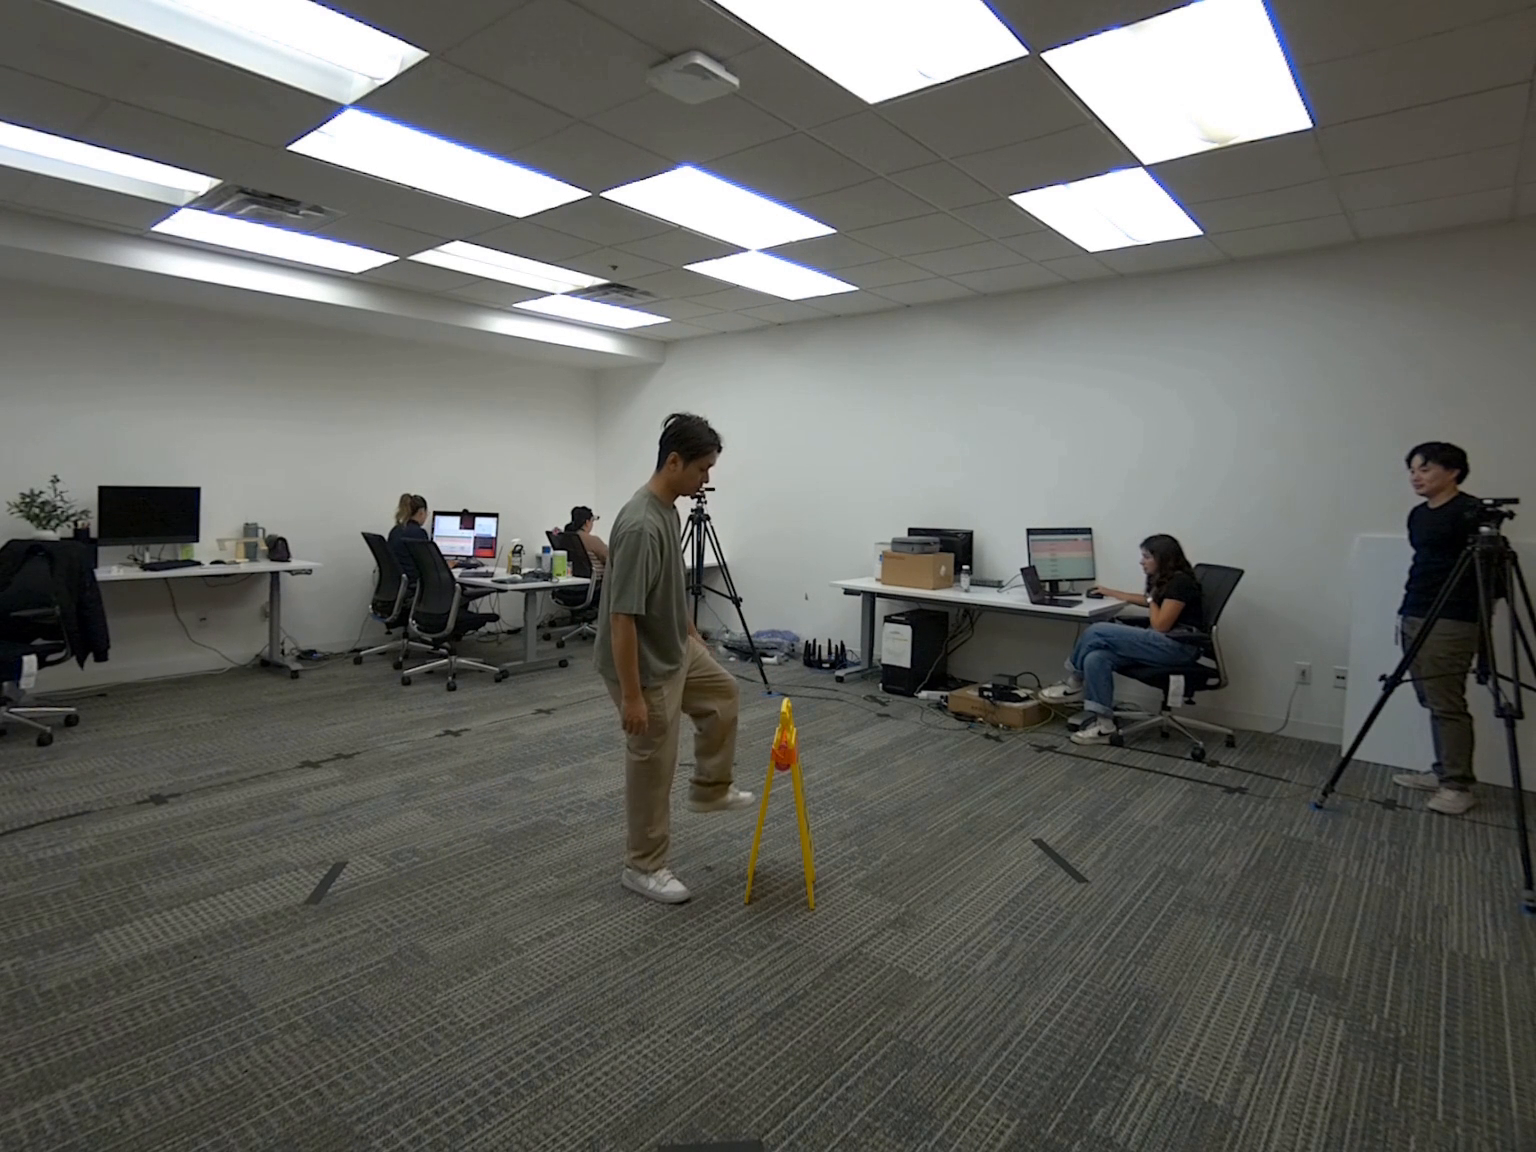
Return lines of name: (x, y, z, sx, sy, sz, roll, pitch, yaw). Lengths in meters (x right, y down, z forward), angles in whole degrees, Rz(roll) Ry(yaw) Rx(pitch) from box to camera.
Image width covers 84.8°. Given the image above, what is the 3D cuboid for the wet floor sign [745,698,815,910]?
wet floor sign: (0.048, 0.767, 2.952, 0.292, 0.644, 0.281, 3, 4, 6)
